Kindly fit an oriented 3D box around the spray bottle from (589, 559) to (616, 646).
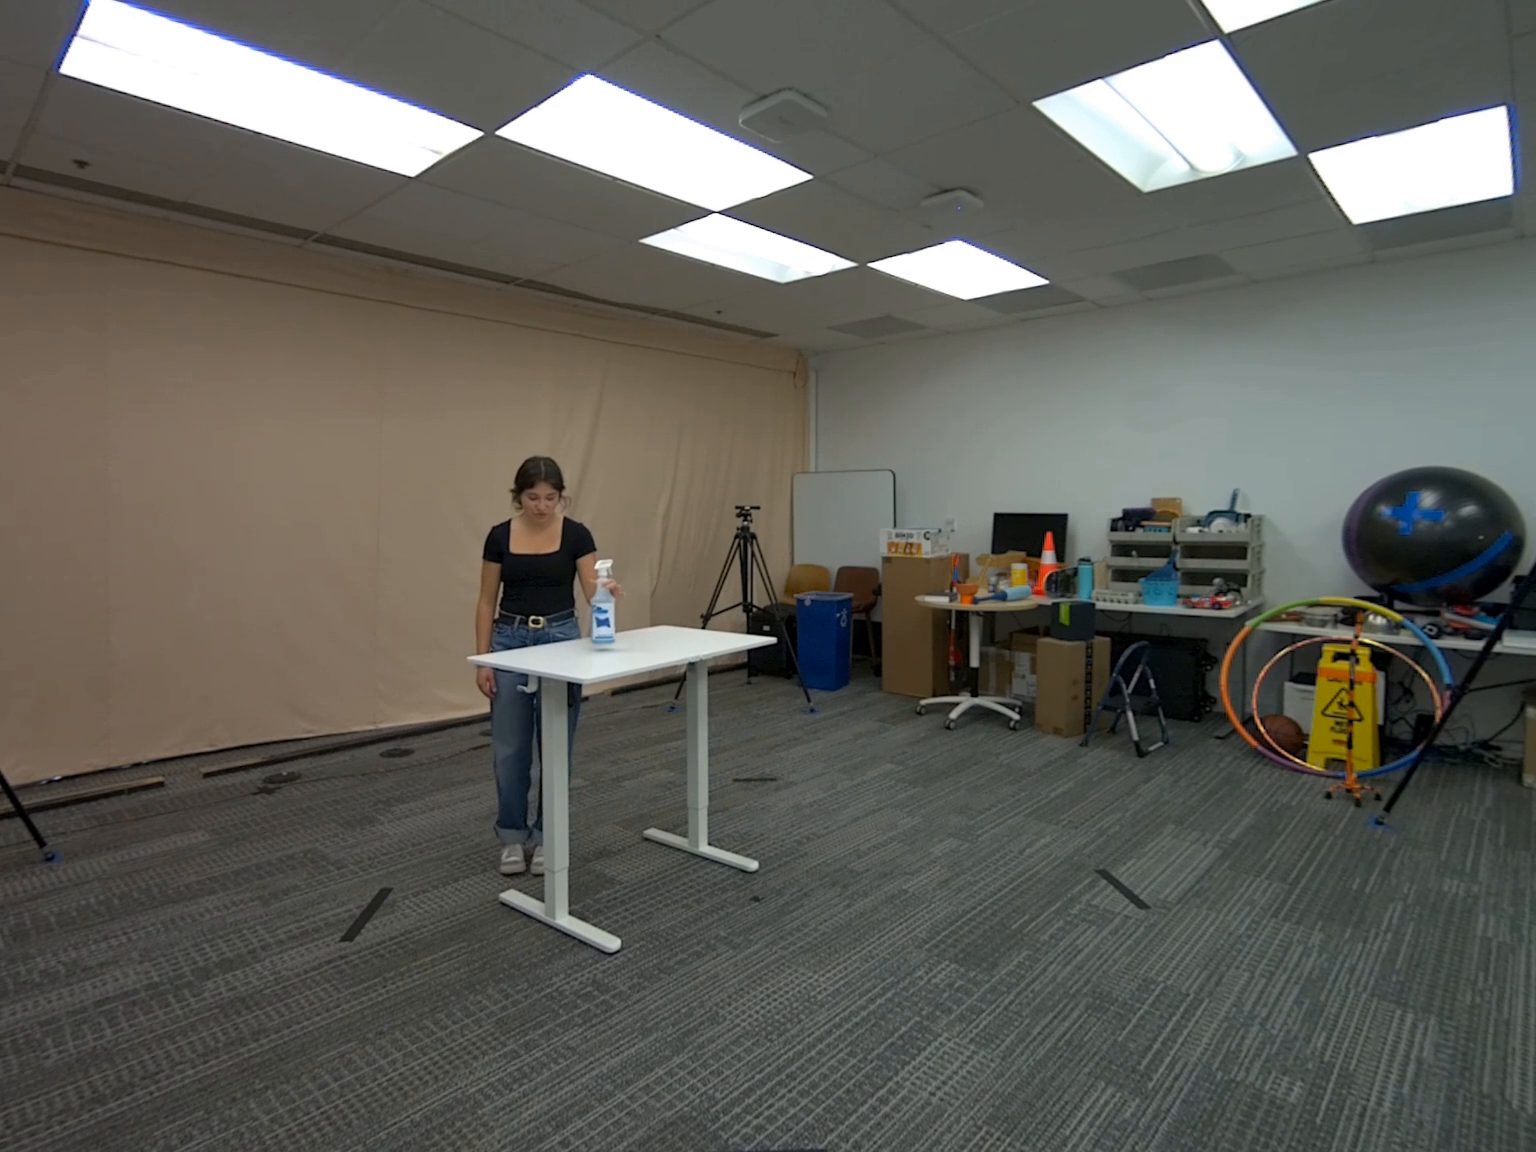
[{"bbox_3d":[-0.592,0.092,2.996,0.087,0.297,0.089,1,-1,-35],"label":"spray bottle"}]
